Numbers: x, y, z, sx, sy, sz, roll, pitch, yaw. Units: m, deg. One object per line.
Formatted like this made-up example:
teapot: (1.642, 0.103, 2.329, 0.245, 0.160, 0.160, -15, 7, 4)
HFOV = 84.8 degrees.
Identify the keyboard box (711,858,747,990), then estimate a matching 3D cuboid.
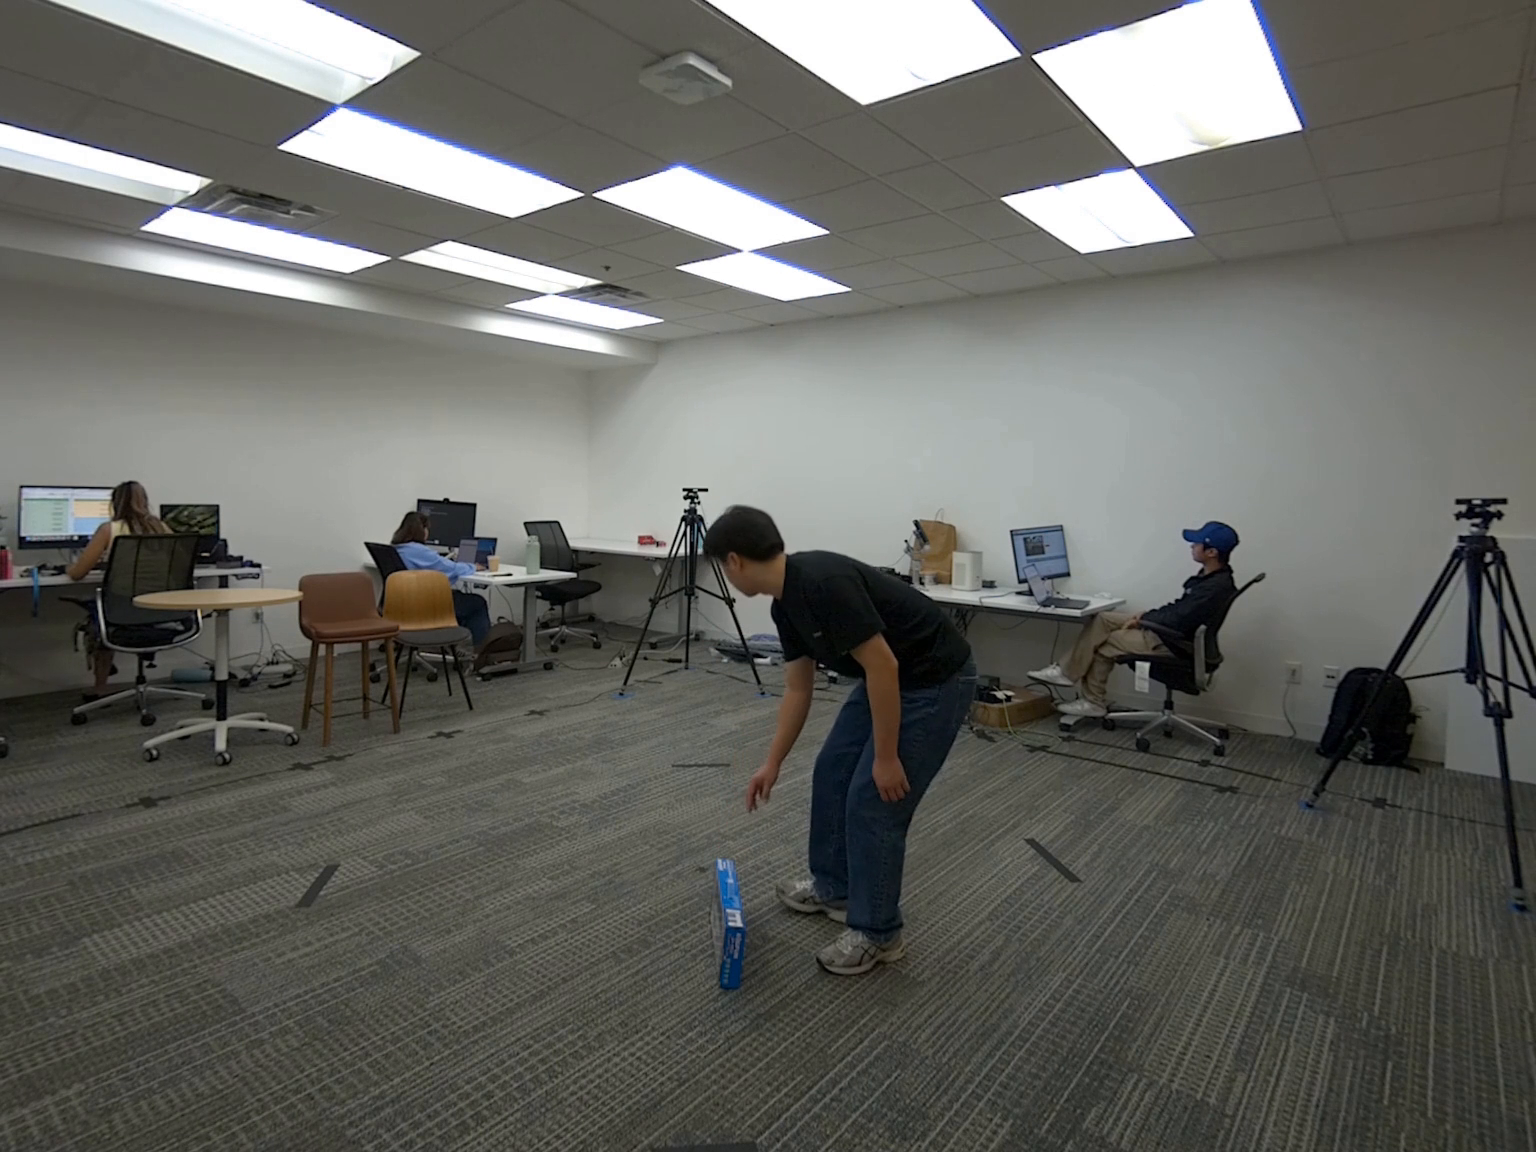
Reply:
keyboard box: (-0.133, 1.035, 2.573, 0.058, 0.175, 0.441, 5, 5, -9)
